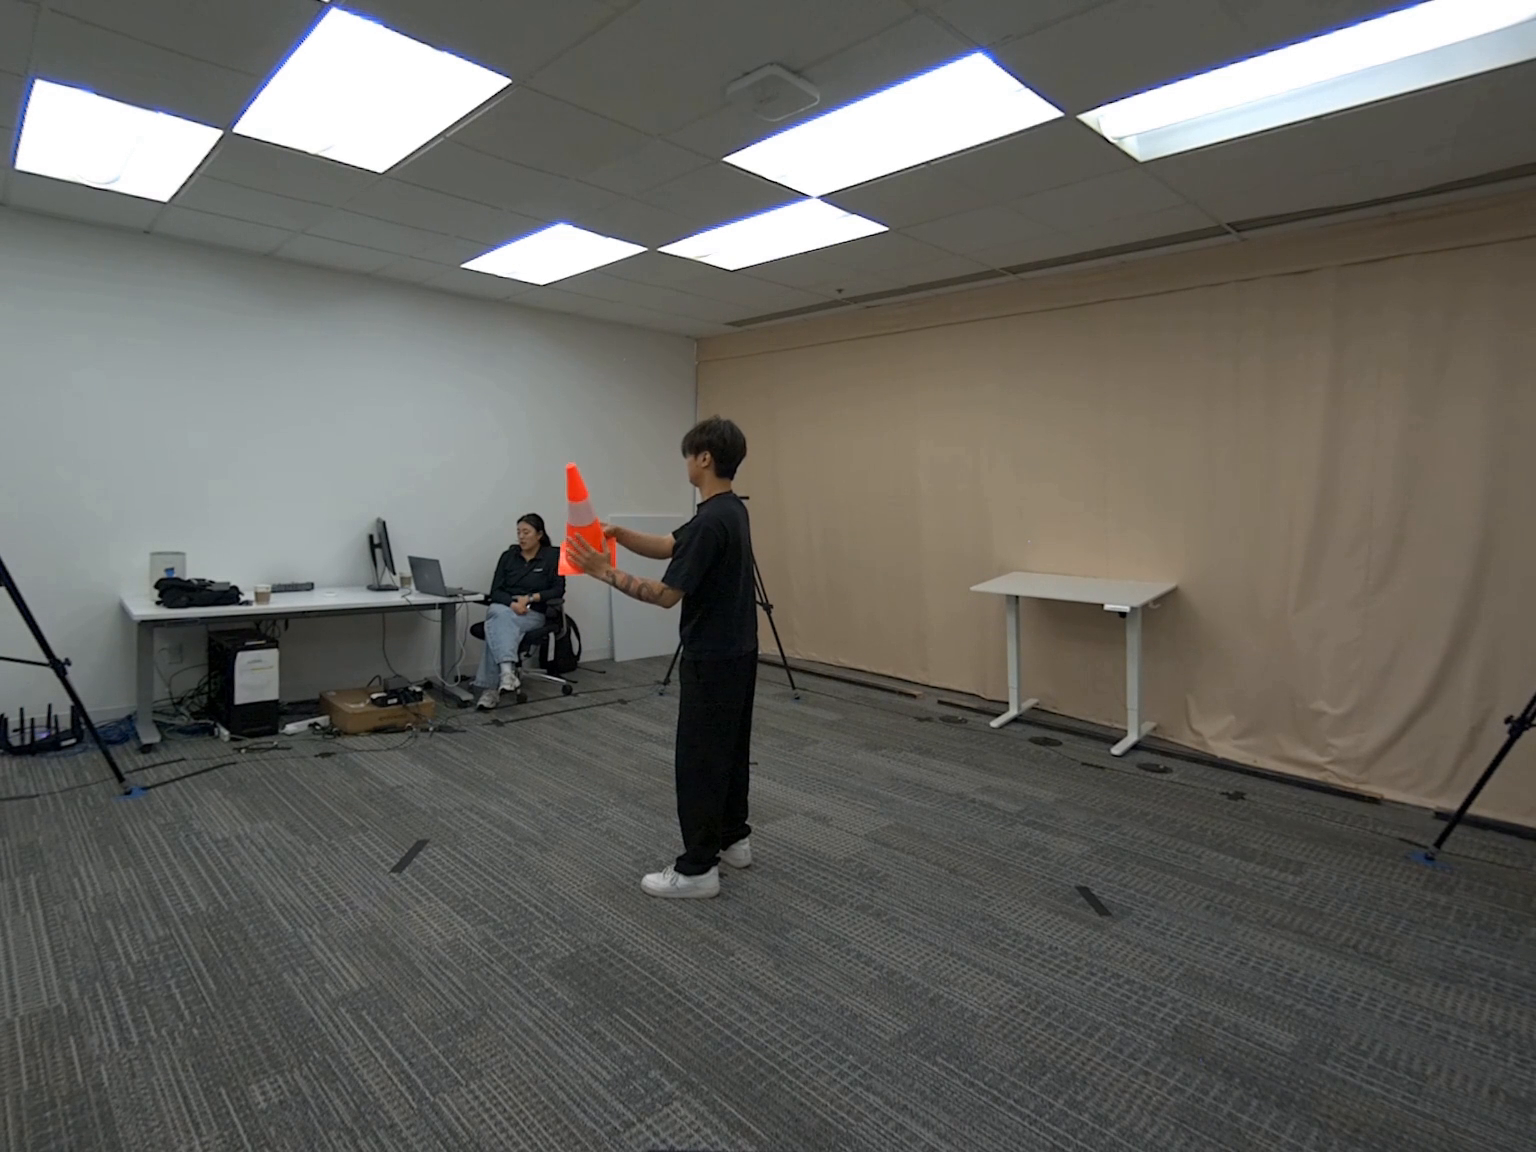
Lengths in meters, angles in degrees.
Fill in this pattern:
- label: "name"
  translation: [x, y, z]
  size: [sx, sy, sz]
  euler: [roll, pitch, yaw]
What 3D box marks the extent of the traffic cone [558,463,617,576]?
- label: "traffic cone"
  translation: [-0.649, -0.209, 2.862]
  size: [0.205, 0.375, 0.208]
  euler: [-4, 38, 1]
